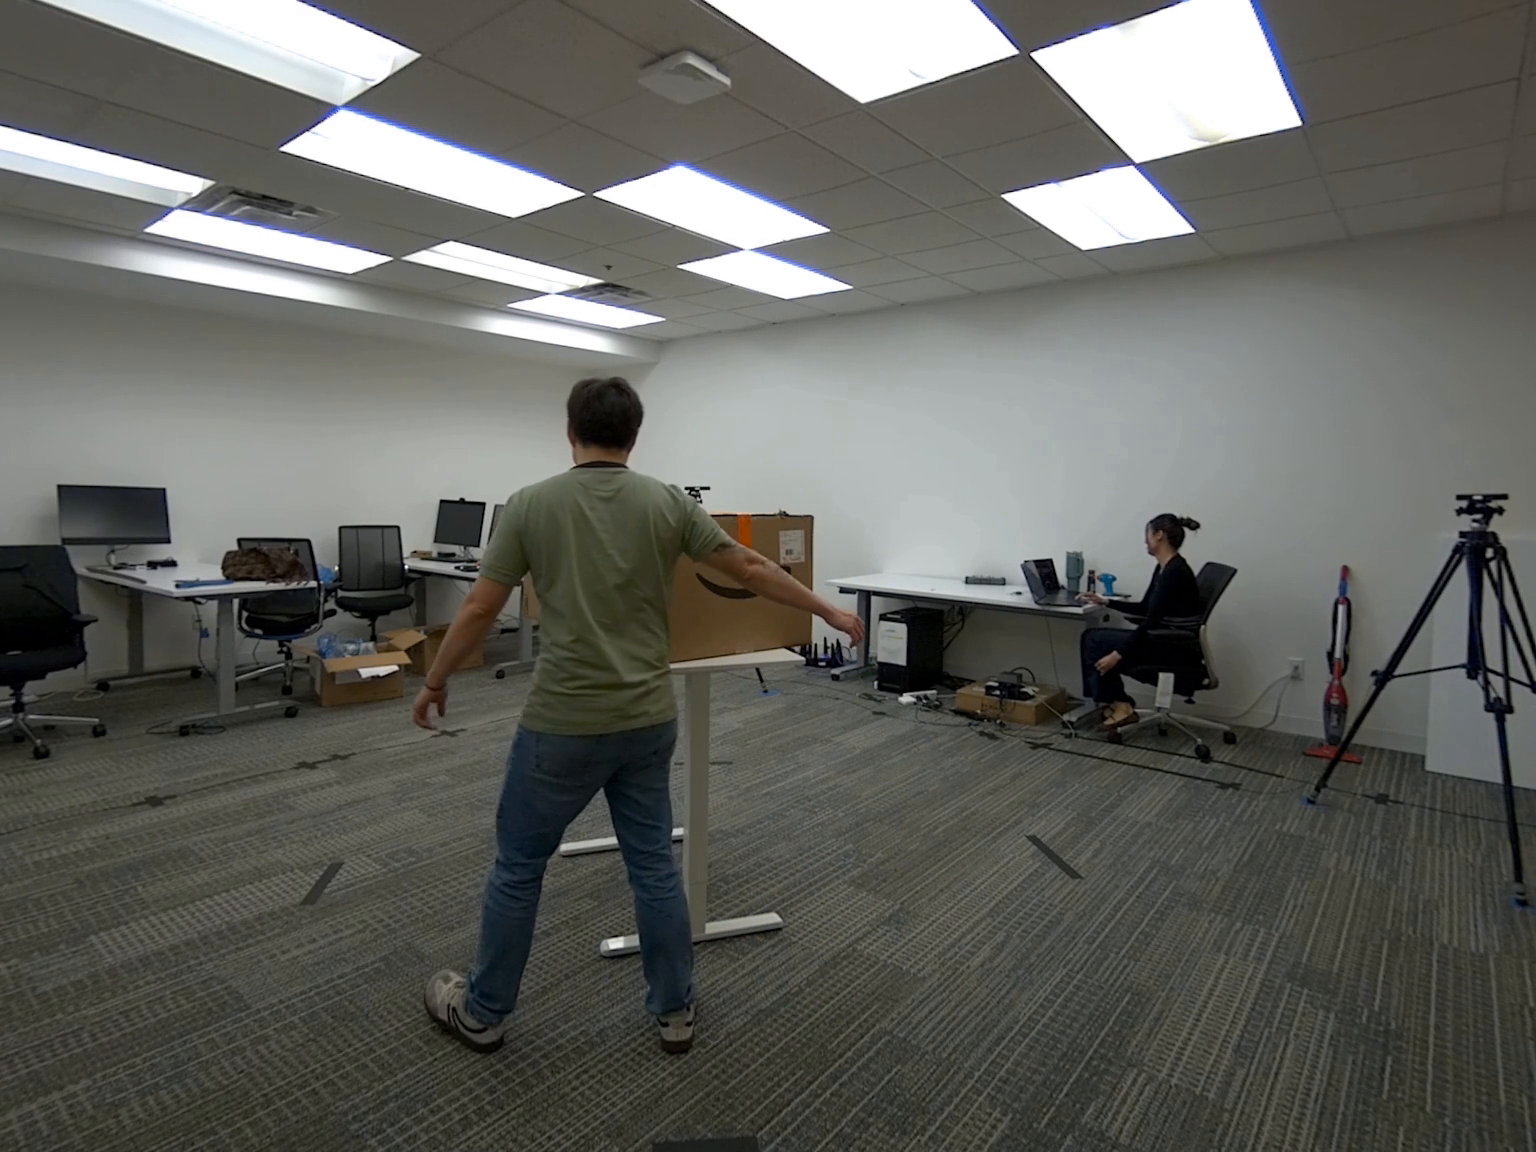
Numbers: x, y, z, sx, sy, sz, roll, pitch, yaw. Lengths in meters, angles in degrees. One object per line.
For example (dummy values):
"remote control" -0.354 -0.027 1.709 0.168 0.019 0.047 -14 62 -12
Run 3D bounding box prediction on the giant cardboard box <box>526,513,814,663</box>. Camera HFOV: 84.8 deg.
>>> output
"giant cardboard box" -0.400 -0.026 3.005 0.561 0.424 1.061 -3 7 -37
